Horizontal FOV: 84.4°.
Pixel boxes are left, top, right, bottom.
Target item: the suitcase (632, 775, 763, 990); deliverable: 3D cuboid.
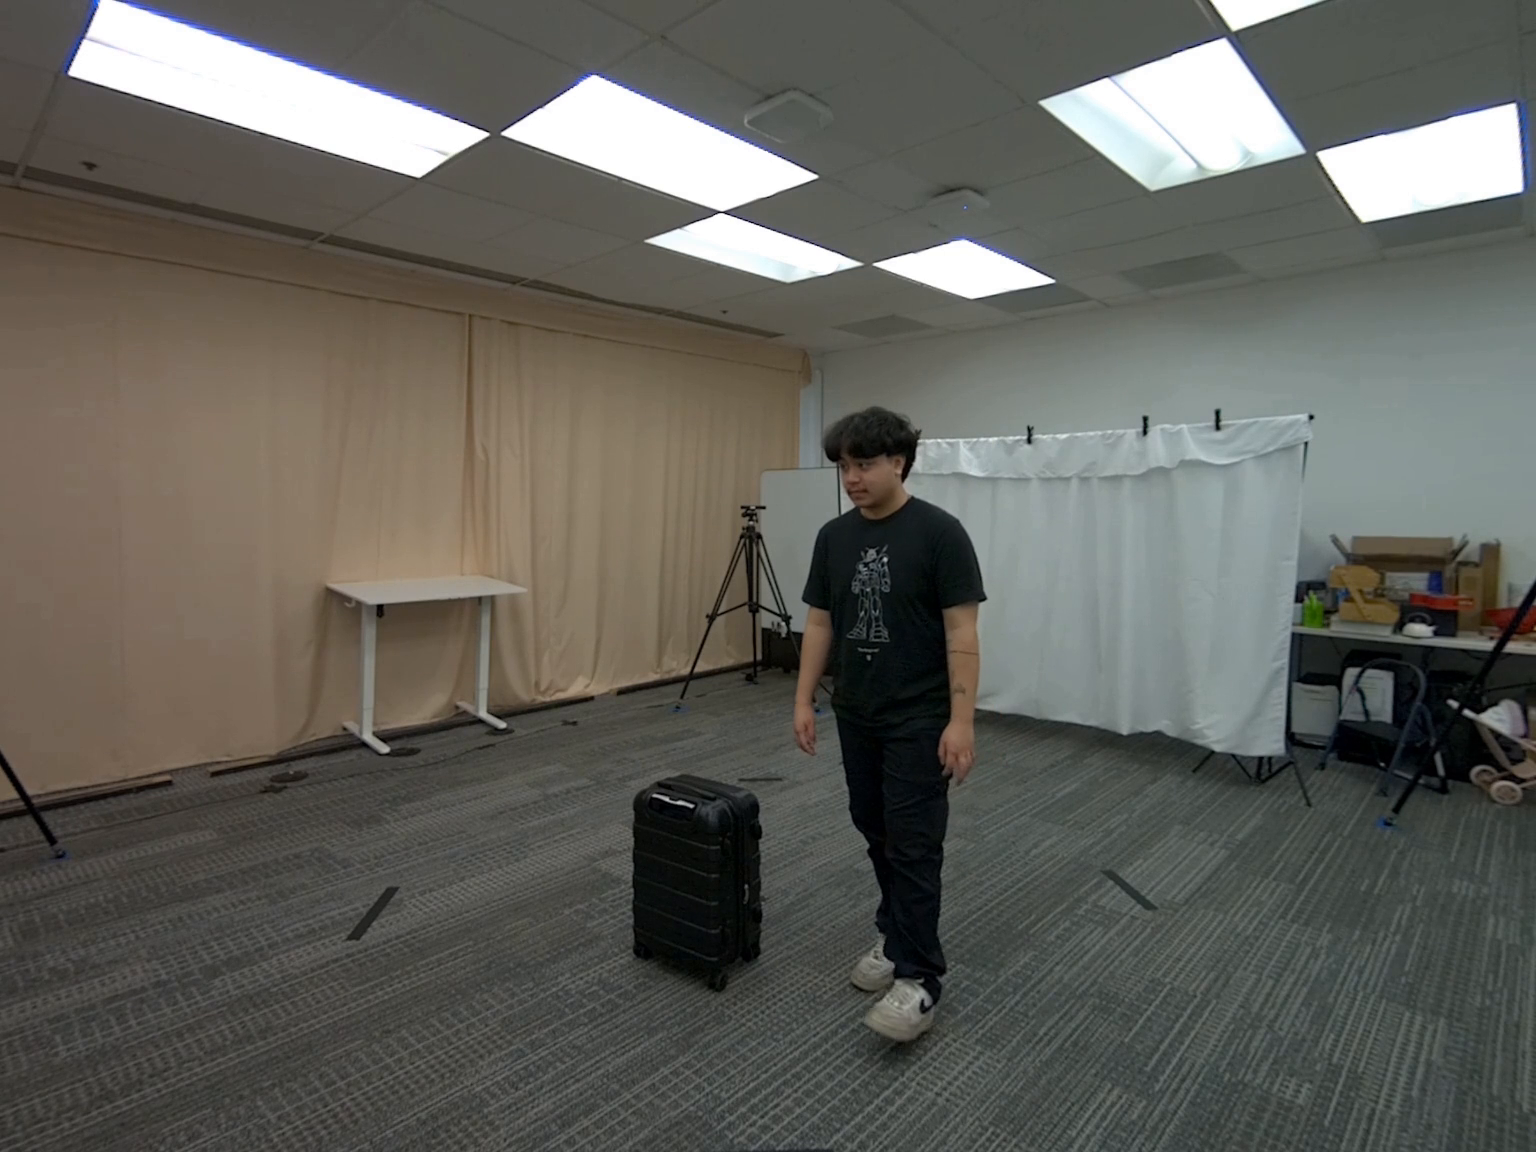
[{"bbox_3d":[-0.221,0.905,2.572,0.387,0.548,0.241,2,4,37],"label":"suitcase"}]
